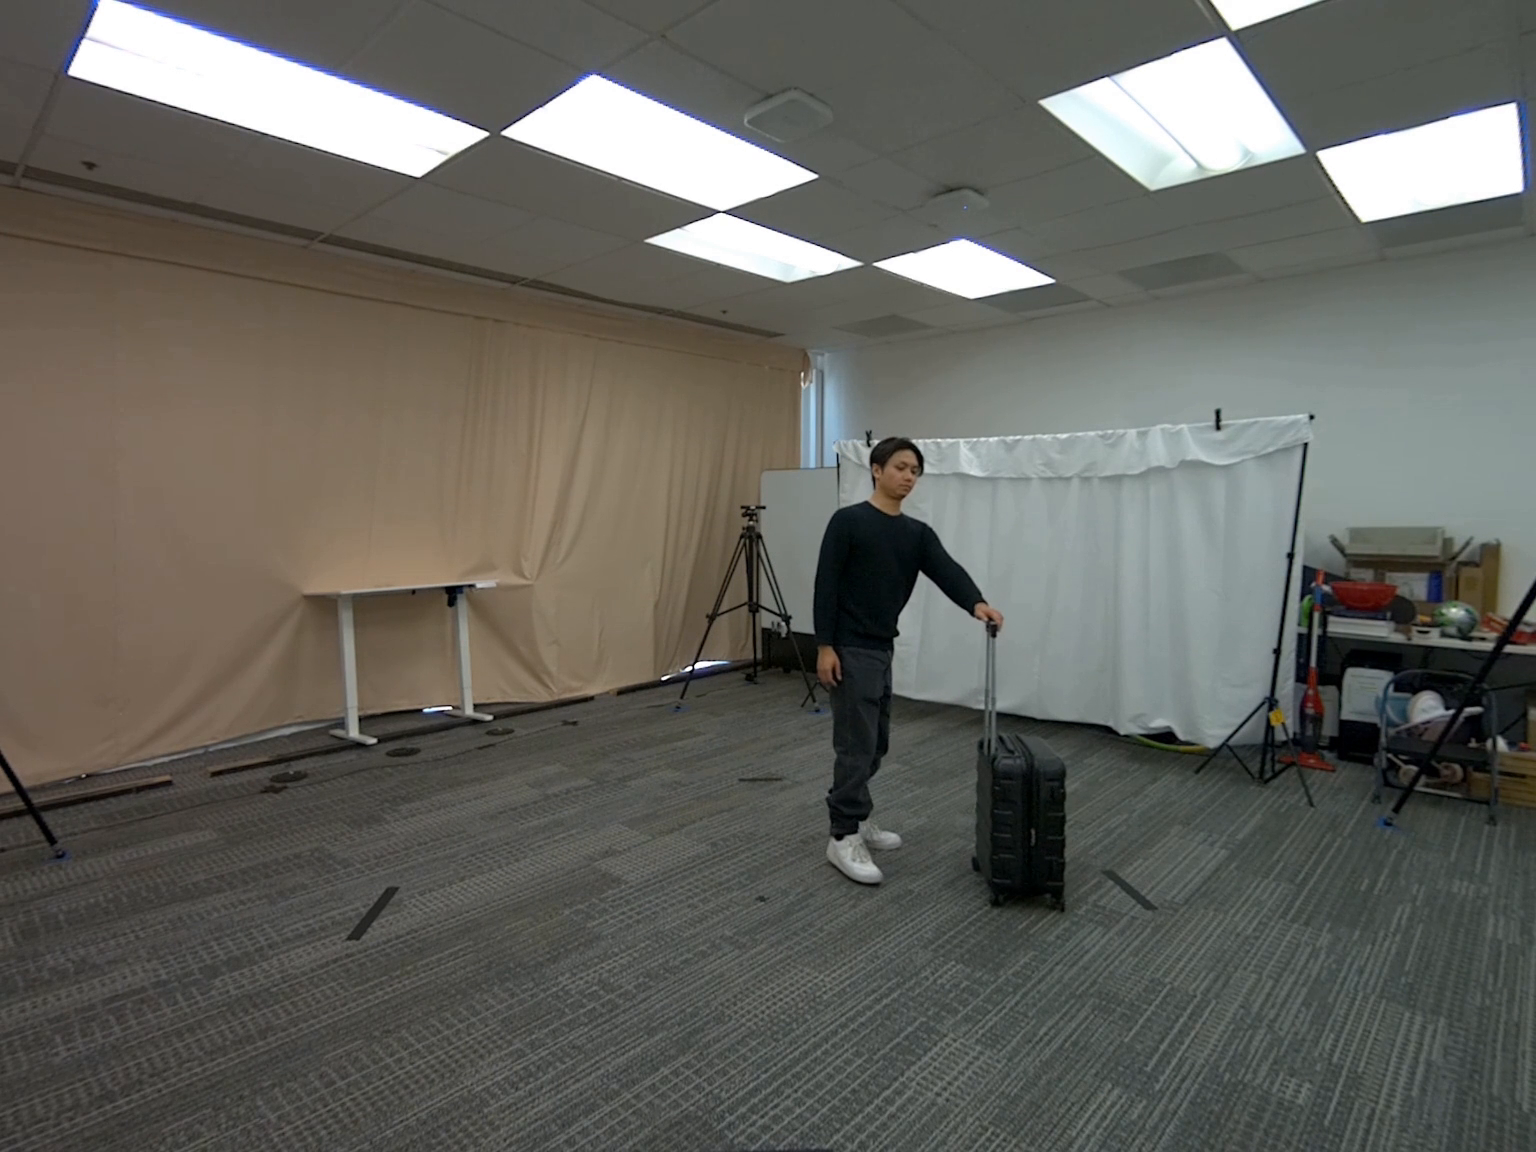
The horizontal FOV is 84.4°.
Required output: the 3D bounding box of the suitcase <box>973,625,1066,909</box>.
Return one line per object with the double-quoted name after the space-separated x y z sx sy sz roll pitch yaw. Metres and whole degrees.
0.910 0.661 3.013 0.259 0.976 0.382 1 4 5 "suitcase"
